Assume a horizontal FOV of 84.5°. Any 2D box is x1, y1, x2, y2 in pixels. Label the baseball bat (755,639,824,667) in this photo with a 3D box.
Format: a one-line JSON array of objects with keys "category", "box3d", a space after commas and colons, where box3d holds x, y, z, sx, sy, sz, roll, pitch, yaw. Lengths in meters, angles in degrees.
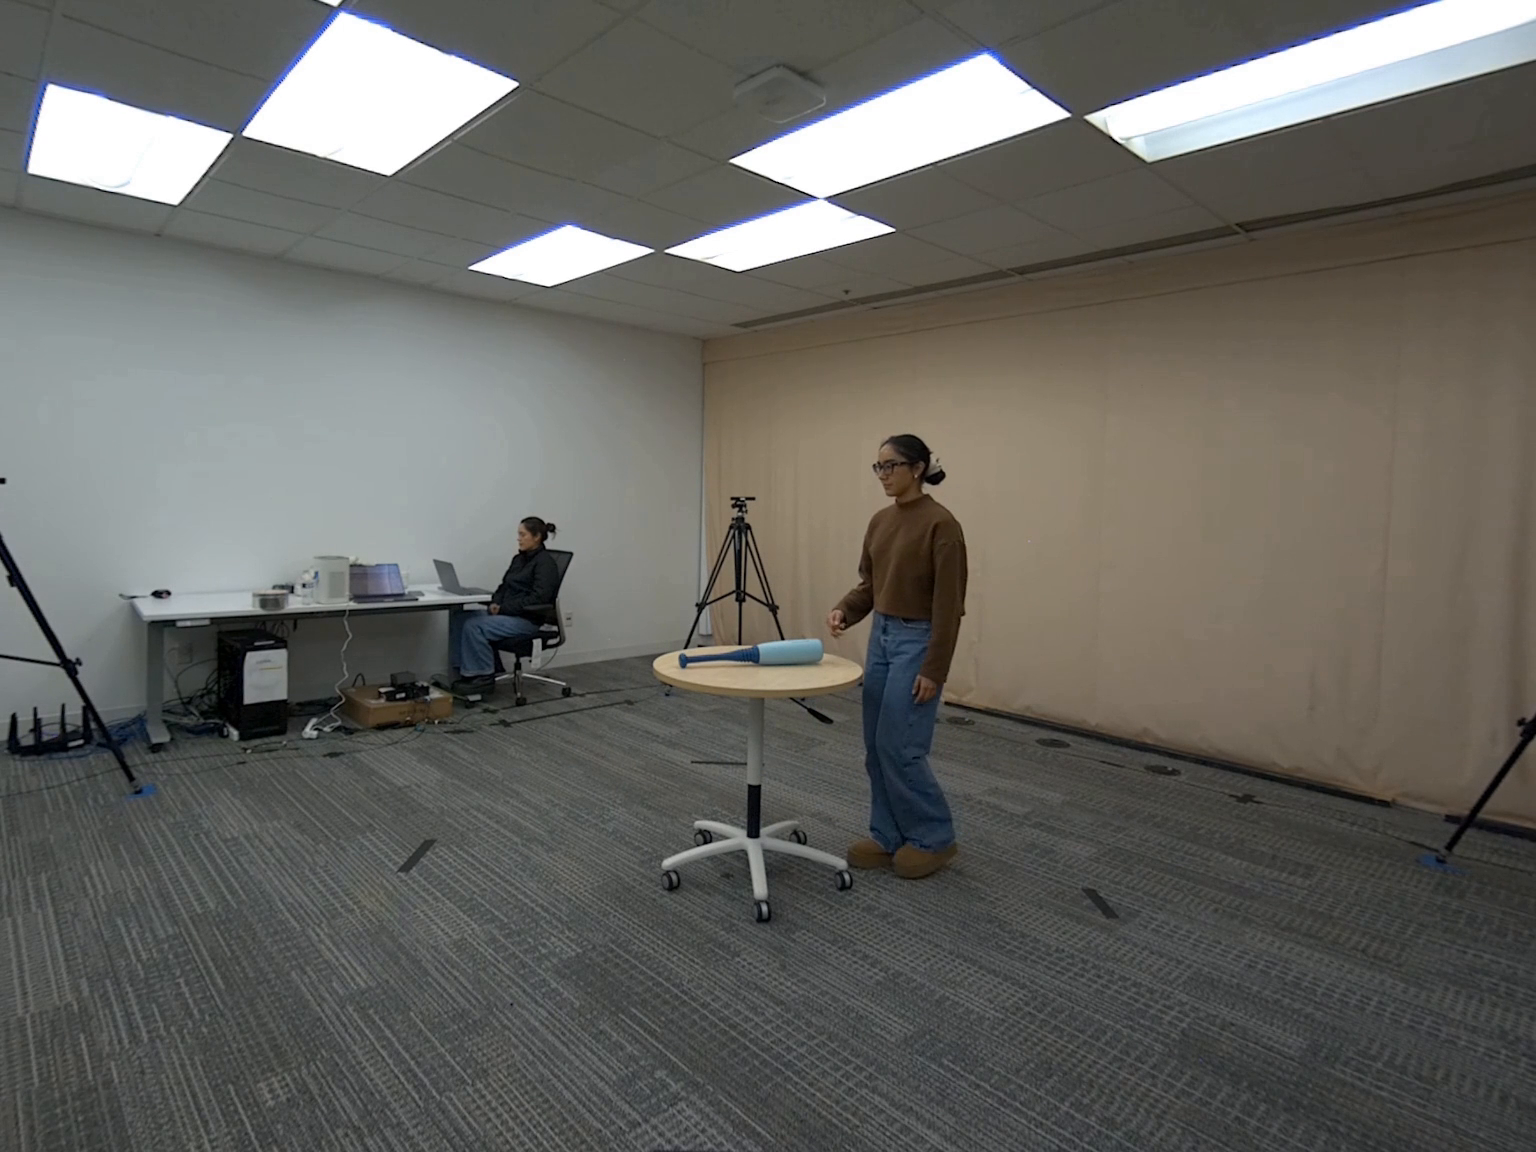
[{"category": "baseball bat", "box3d": [-0.060, 0.293, 3.075, 0.537, 0.089, 0.090, -3, 5, -15]}]
